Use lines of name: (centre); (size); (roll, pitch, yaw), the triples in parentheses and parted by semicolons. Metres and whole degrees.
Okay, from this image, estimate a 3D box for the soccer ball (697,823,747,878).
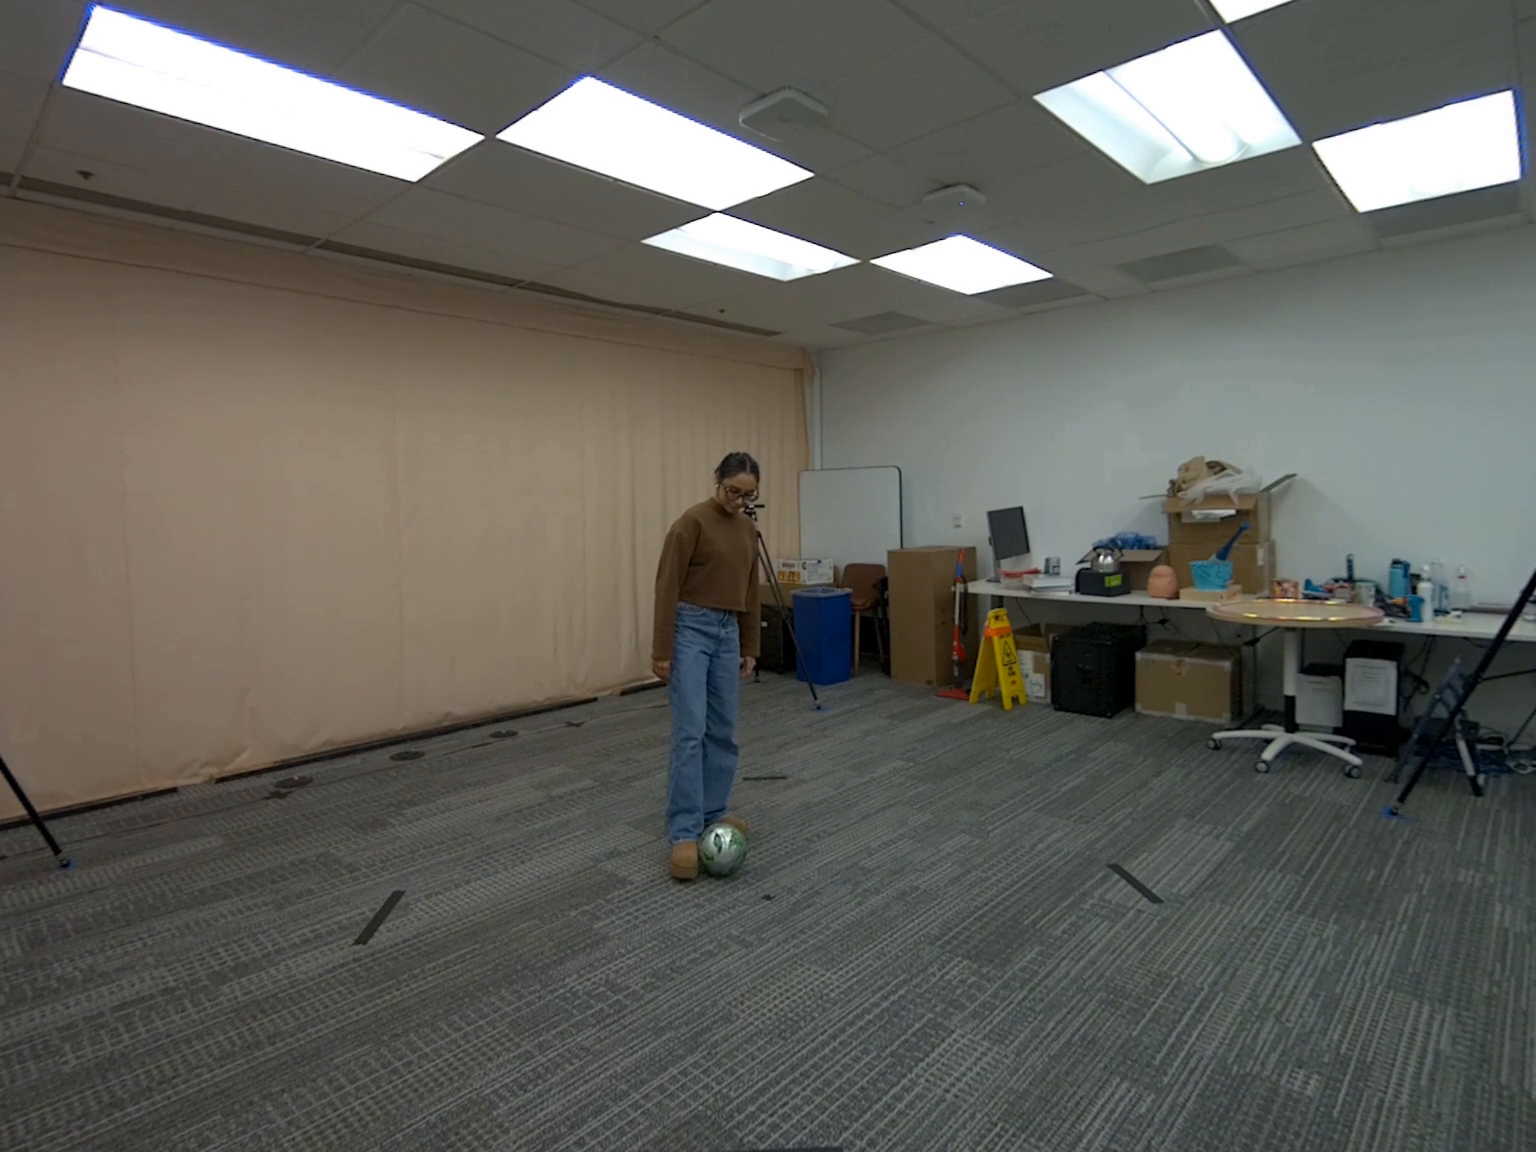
soccer ball: (-0.145, 1.029, 3.167); (0.187, 0.187, 0.188); (-1, 4, -2)
